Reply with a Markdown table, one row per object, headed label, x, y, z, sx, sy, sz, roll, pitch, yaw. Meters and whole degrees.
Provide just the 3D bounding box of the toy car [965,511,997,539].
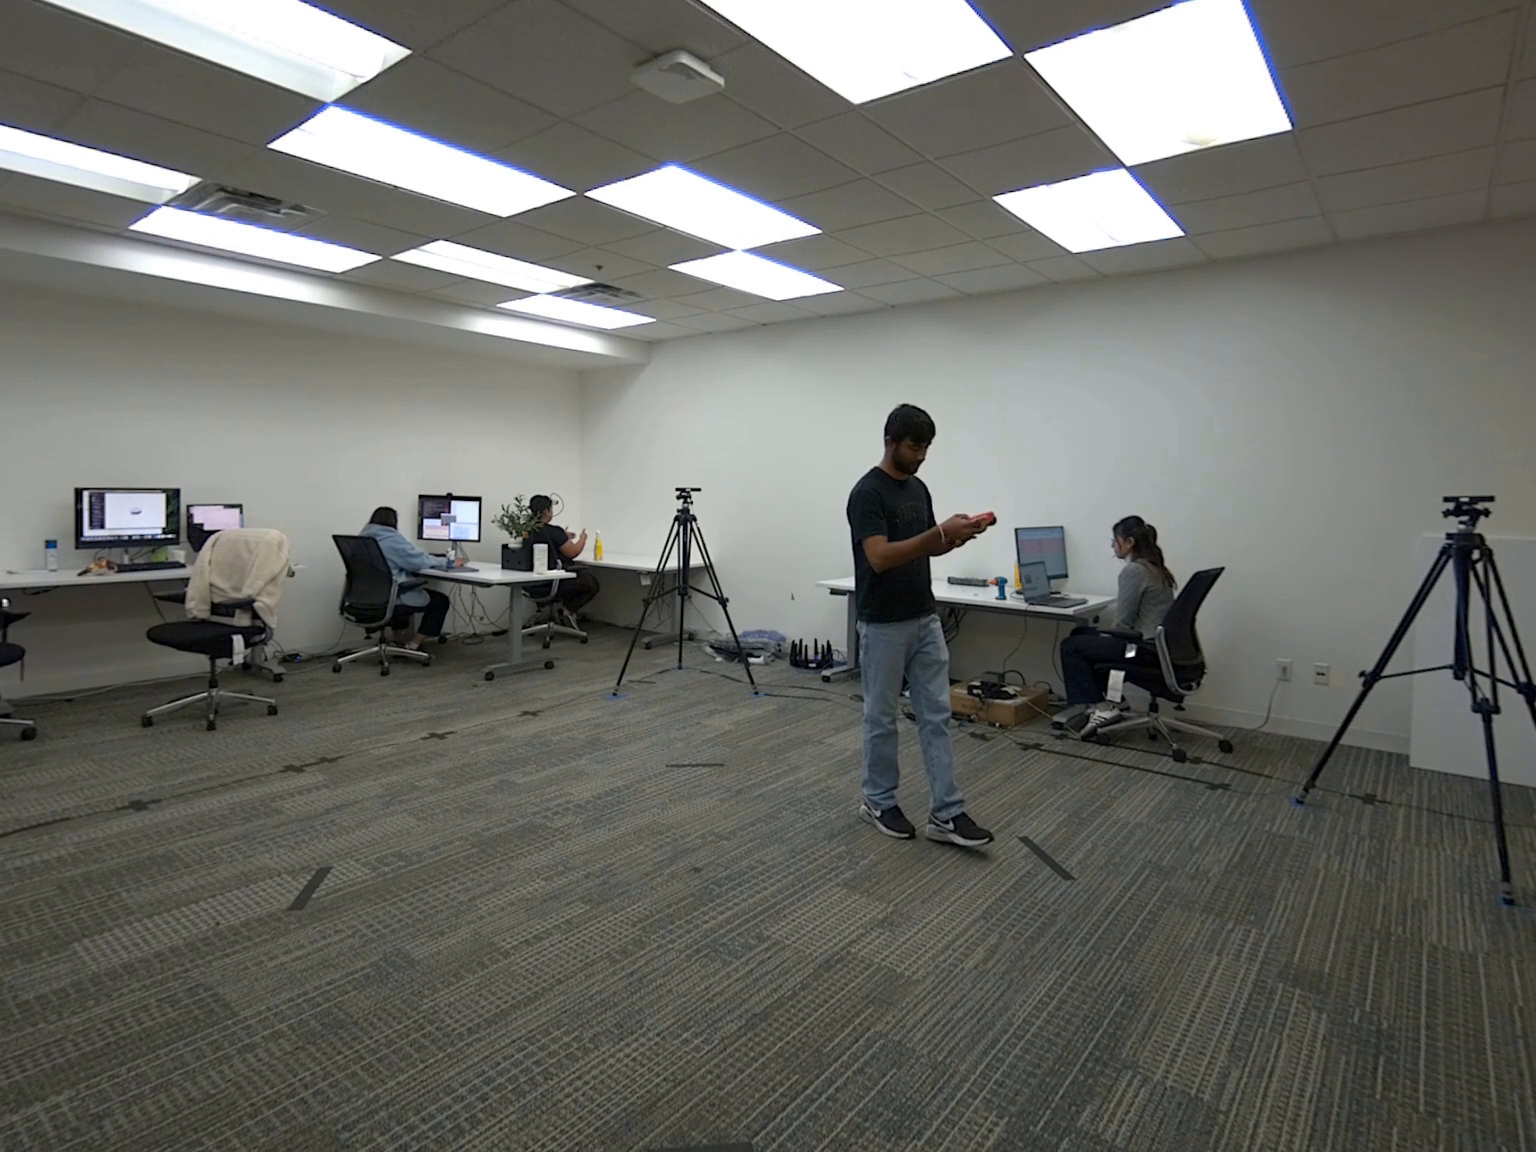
| label | x | y | z | sx | sy | sz | roll | pitch | yaw |
| --- | --- | --- | --- | --- | --- | --- | --- | --- | --- |
| toy car | 0.762 | -0.182 | 3.237 | 0.128 | 0.083 | 0.259 | -16 | 2 | -29 |
